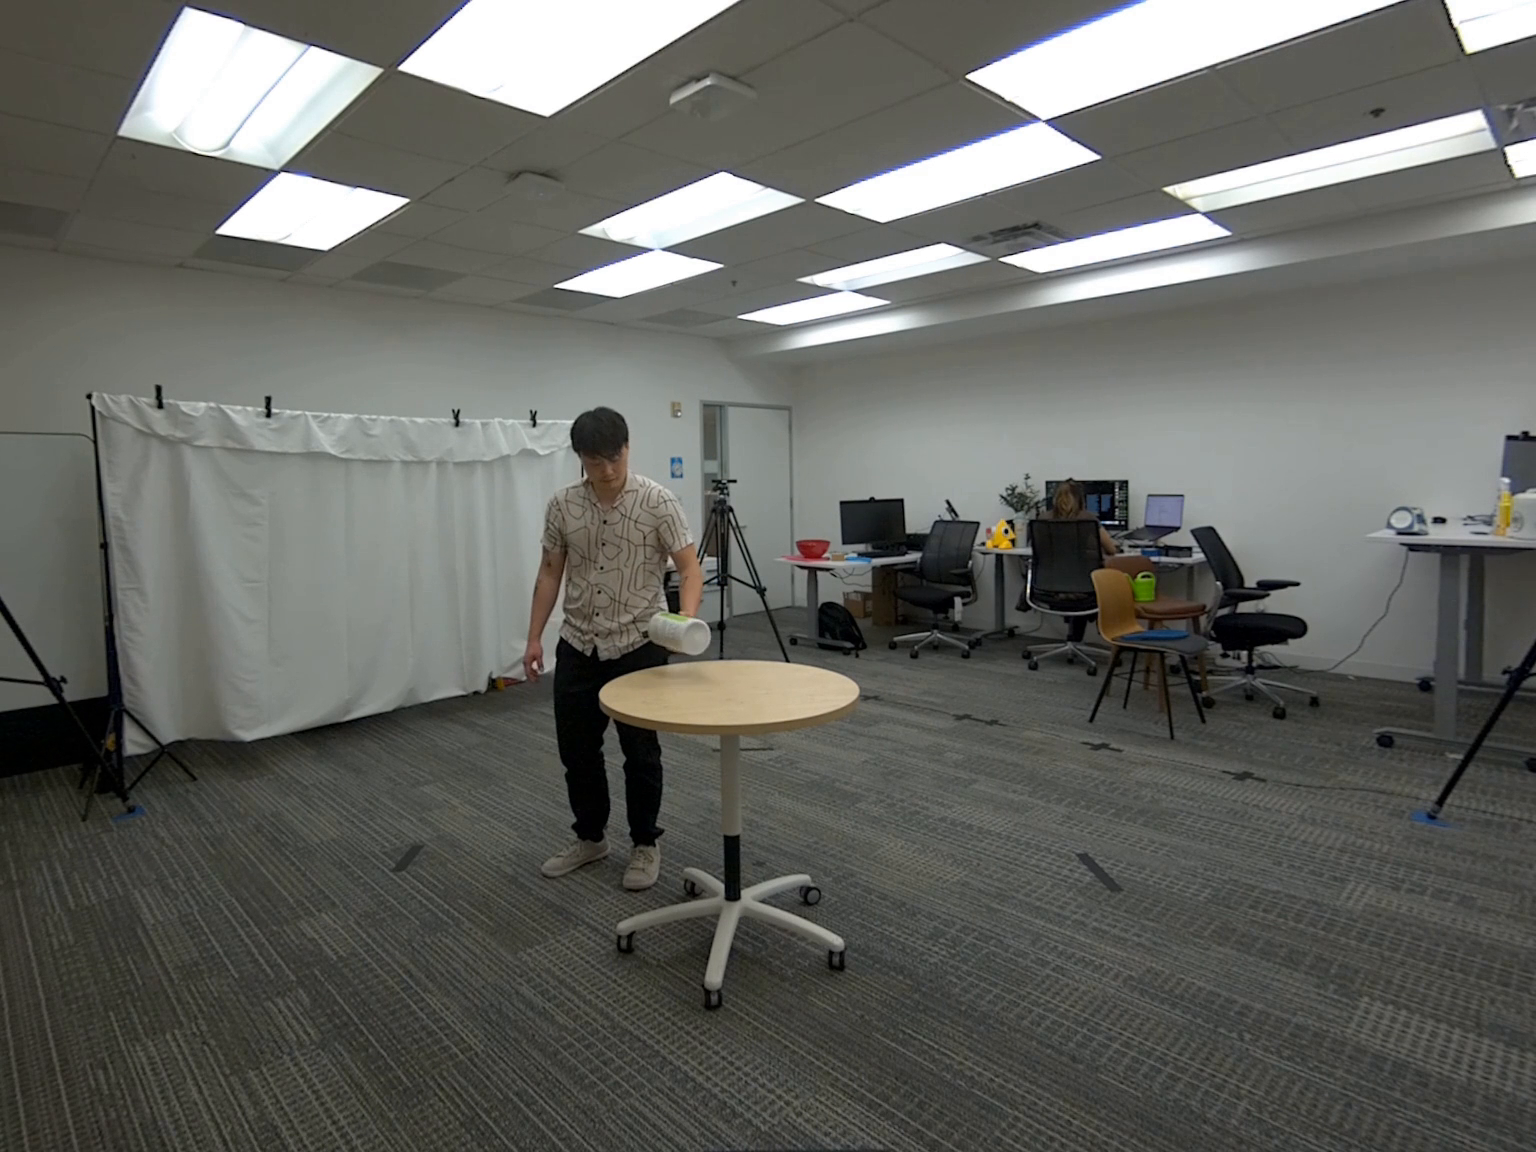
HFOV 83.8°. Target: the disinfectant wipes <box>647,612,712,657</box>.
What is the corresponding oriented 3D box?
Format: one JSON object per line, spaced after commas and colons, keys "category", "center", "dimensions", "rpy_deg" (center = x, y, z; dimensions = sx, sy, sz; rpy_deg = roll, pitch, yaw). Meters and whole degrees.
{"category": "disinfectant wipes", "center": [-0.293, 0.179, 2.664], "dimensions": [0.115, 0.117, 0.223], "rpy_deg": [-4, 6, -30]}
